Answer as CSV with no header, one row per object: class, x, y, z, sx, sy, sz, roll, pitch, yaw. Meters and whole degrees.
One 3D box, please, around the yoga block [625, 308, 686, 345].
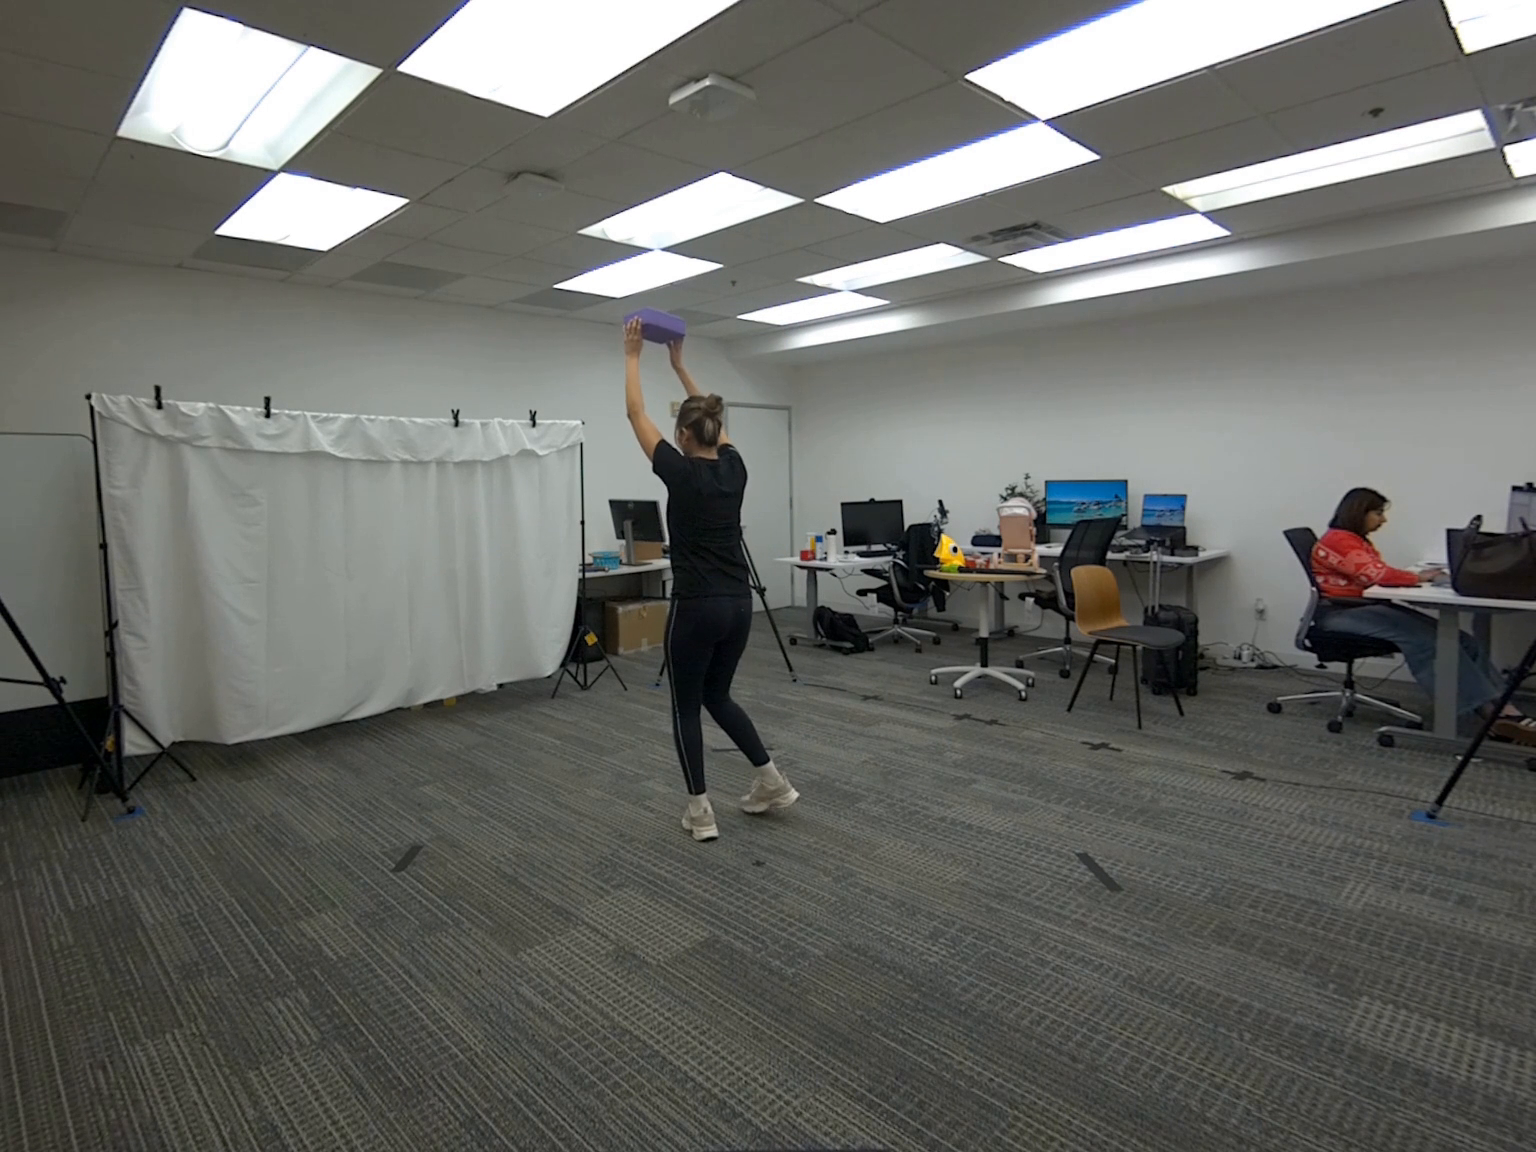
yoga block,-0.458,-1.022,3.482,0.153,0.077,0.222,-6,-4,39
